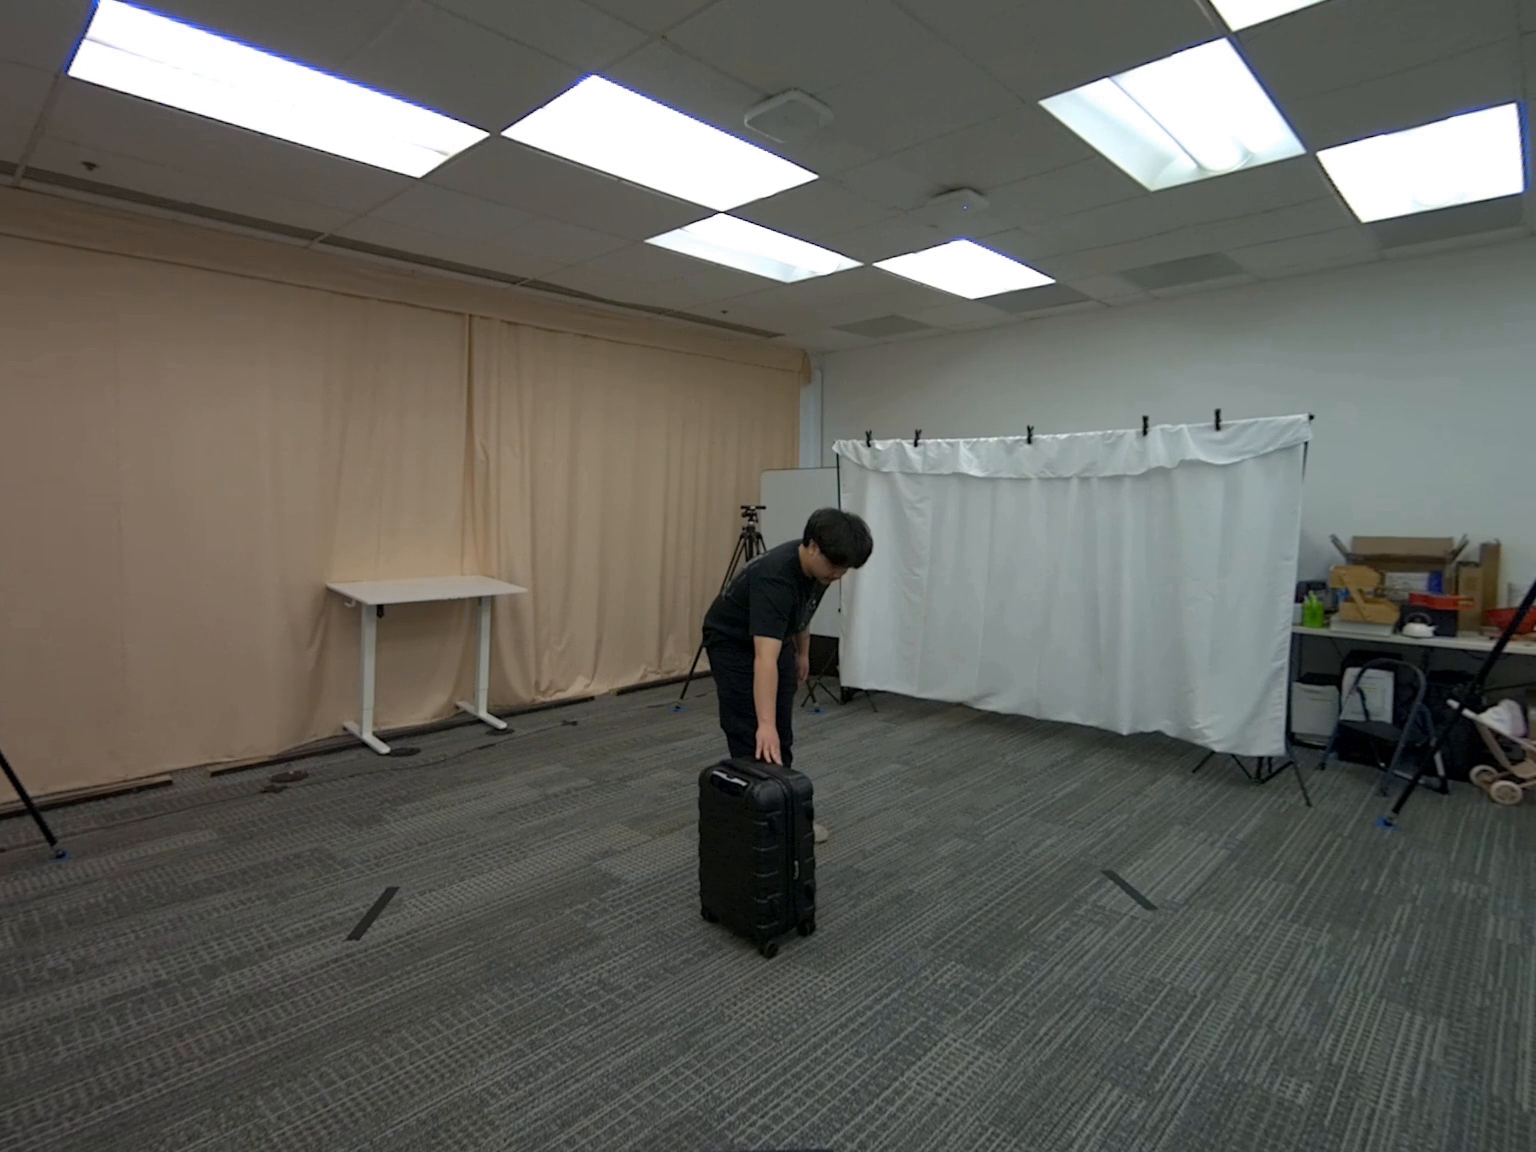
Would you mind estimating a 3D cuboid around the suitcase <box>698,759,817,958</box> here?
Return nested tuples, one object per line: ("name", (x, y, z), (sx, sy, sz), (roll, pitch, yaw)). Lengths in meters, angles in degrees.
("suitcase", (-0.038, 0.882, 2.763), (0.241, 0.548, 0.388), (-4, 6, -40))
